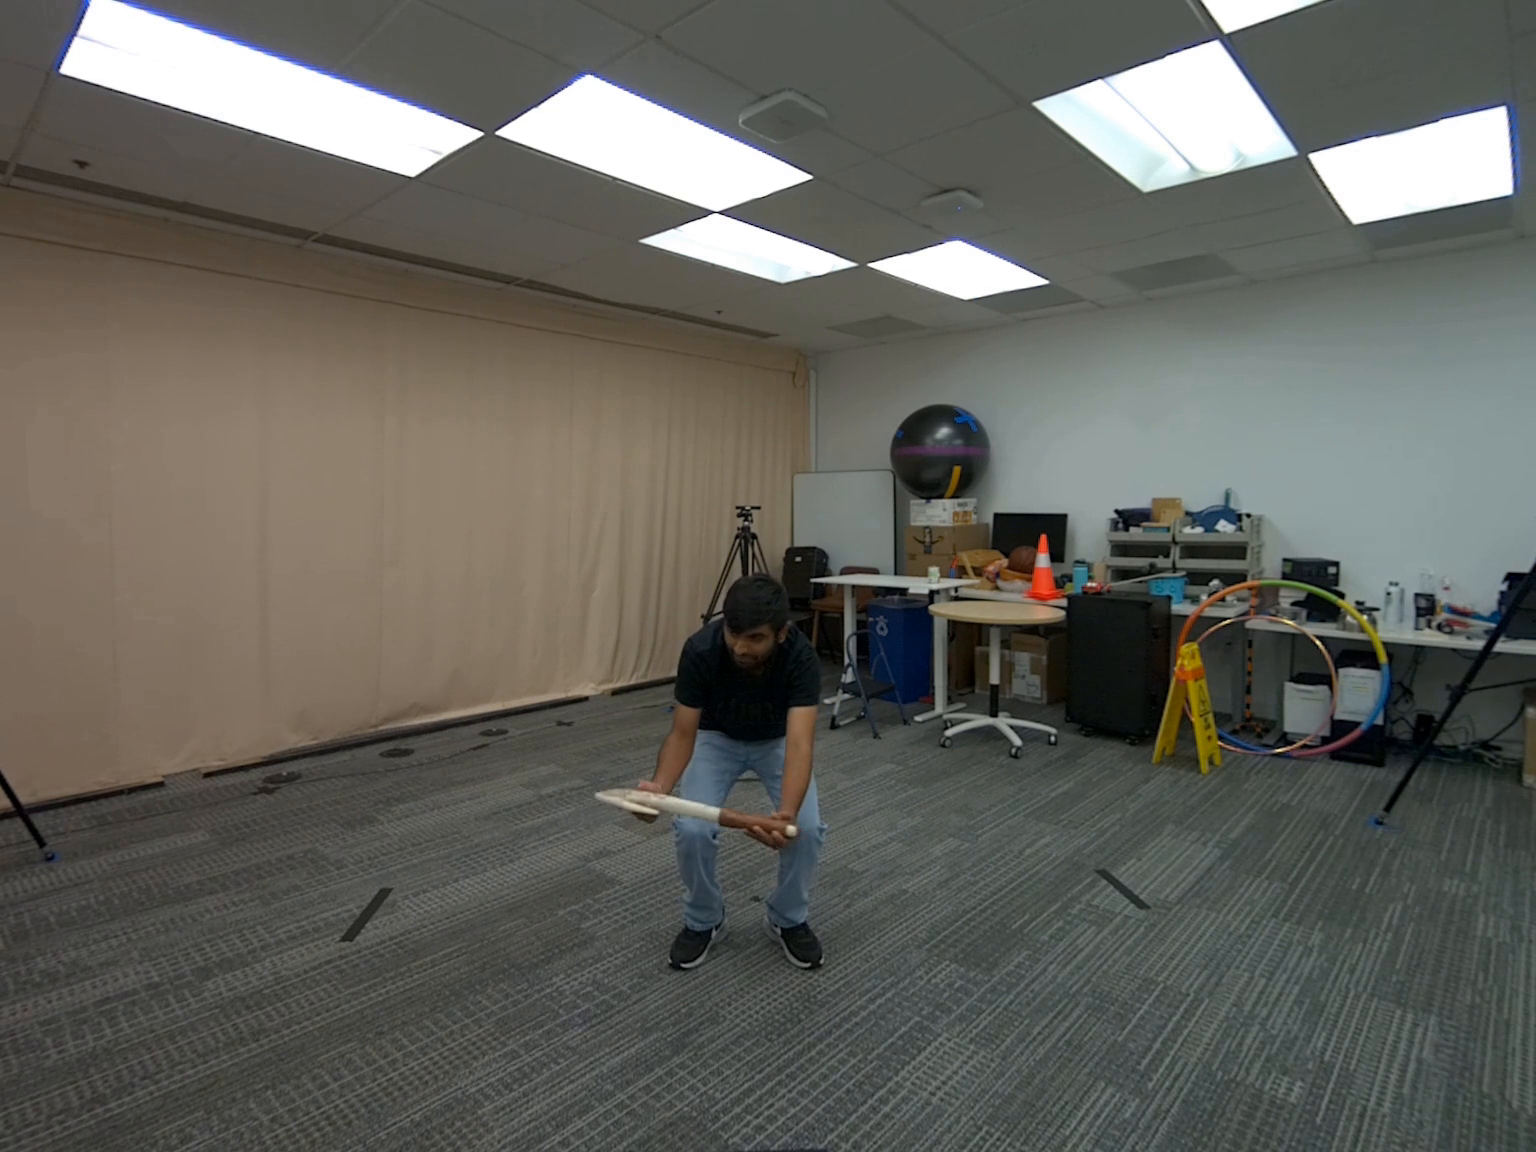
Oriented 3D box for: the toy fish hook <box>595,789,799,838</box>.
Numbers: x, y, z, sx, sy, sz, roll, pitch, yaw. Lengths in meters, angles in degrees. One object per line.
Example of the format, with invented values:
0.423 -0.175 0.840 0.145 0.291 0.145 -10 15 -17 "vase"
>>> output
-0.166 0.581 2.049 0.518 0.048 0.218 4 -7 22 "toy fish hook"
